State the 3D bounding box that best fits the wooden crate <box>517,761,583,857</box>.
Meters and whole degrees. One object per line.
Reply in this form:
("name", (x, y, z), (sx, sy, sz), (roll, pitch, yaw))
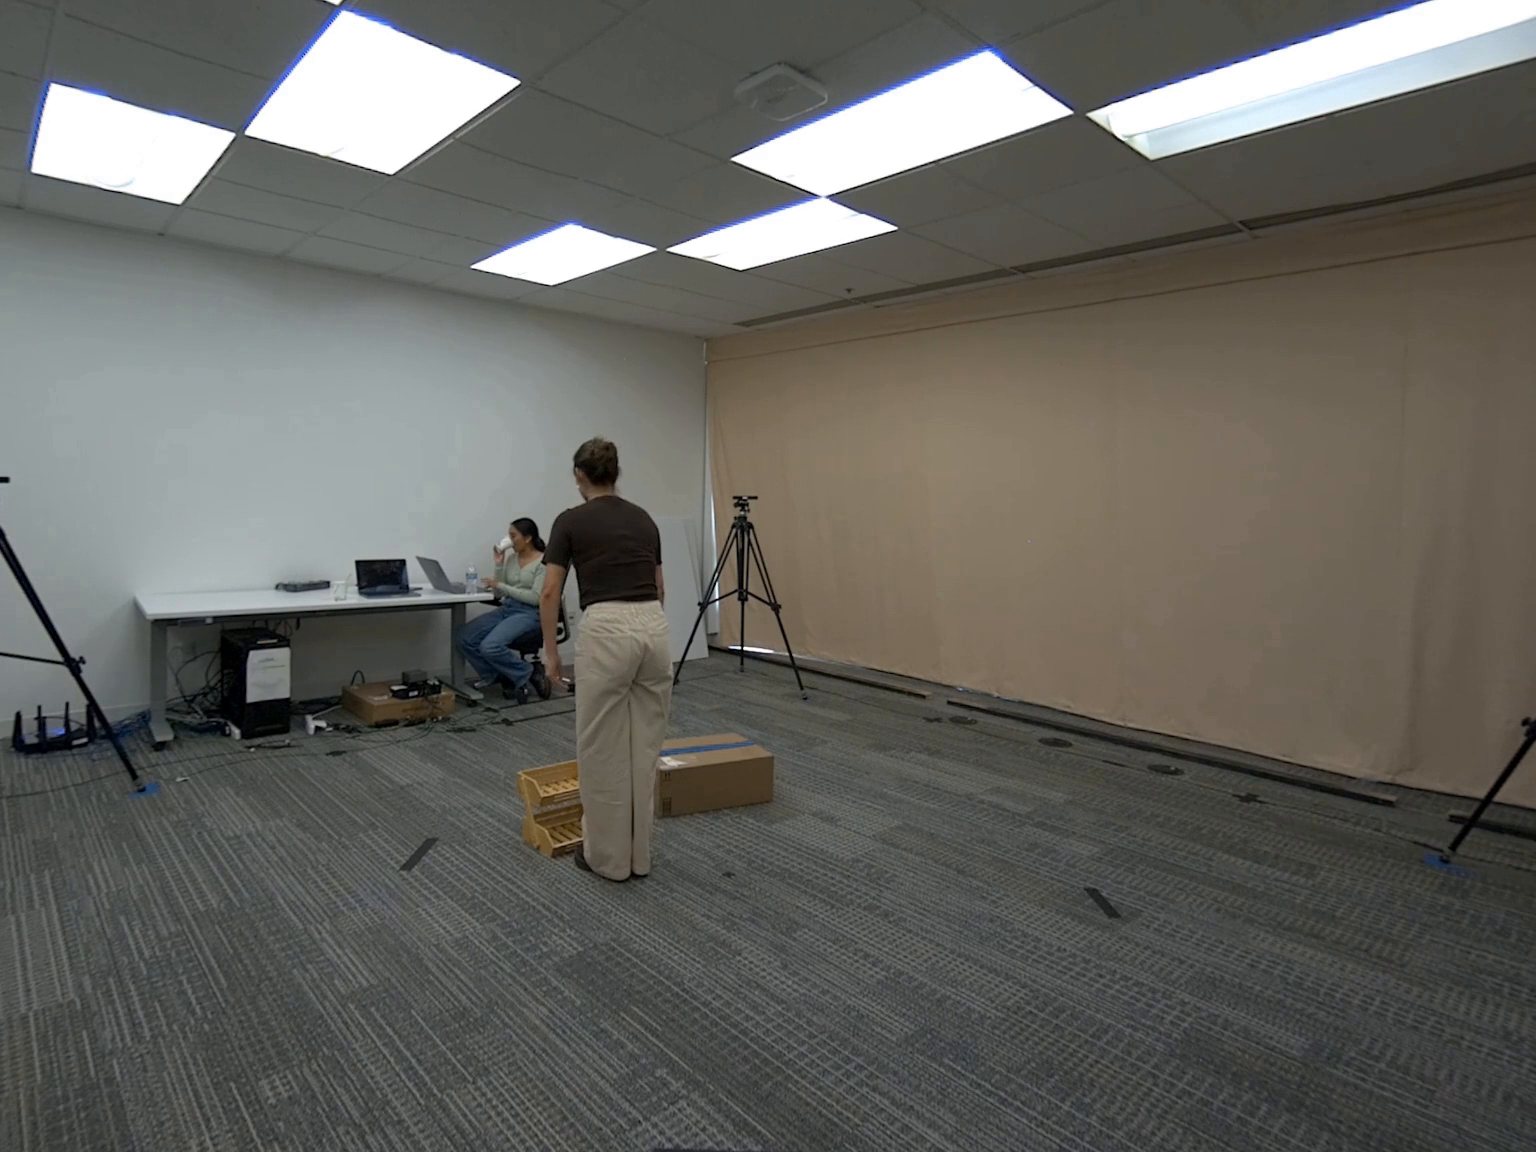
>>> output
("wooden crate", (-0.813, 0.923, 3.394), (0.317, 0.272, 0.310), (-3, 6, -41))
